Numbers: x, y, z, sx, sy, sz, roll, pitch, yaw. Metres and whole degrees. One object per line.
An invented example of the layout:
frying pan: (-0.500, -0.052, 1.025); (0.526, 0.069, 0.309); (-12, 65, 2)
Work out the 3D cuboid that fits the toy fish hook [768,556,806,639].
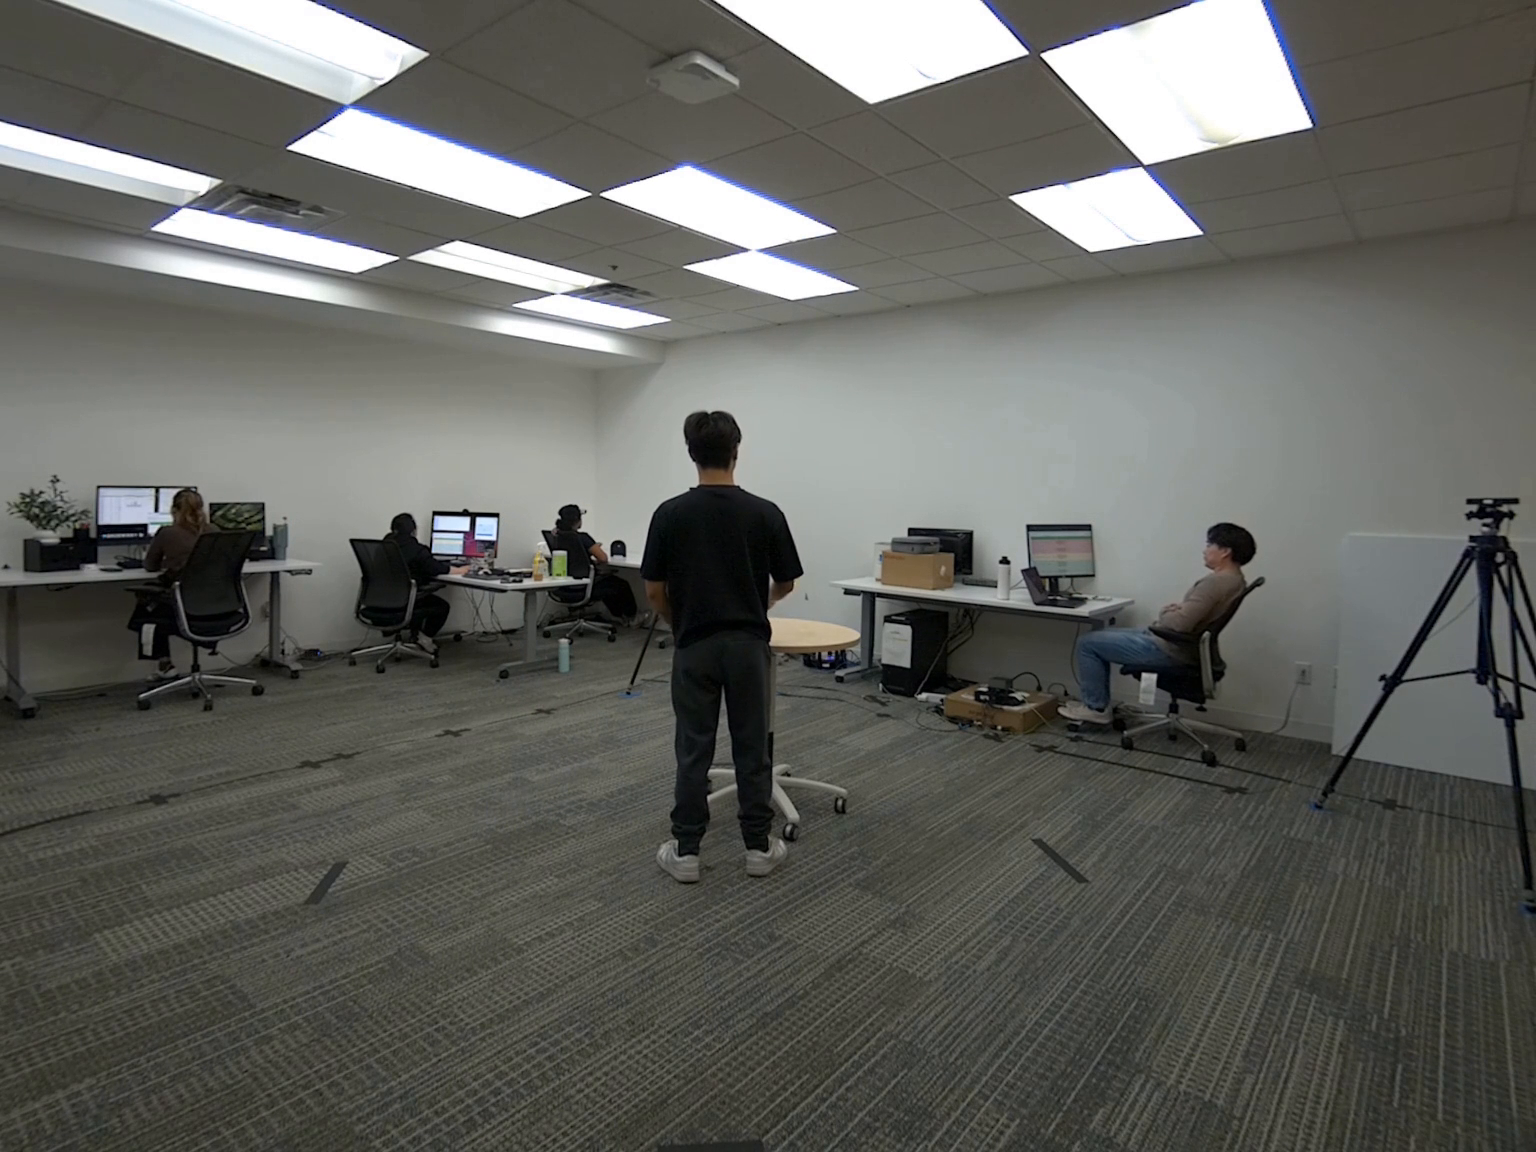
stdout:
toy fish hook: (0.031, 0.043, 3.554); (0.223, 0.048, 0.516); (21, 33, -7)
